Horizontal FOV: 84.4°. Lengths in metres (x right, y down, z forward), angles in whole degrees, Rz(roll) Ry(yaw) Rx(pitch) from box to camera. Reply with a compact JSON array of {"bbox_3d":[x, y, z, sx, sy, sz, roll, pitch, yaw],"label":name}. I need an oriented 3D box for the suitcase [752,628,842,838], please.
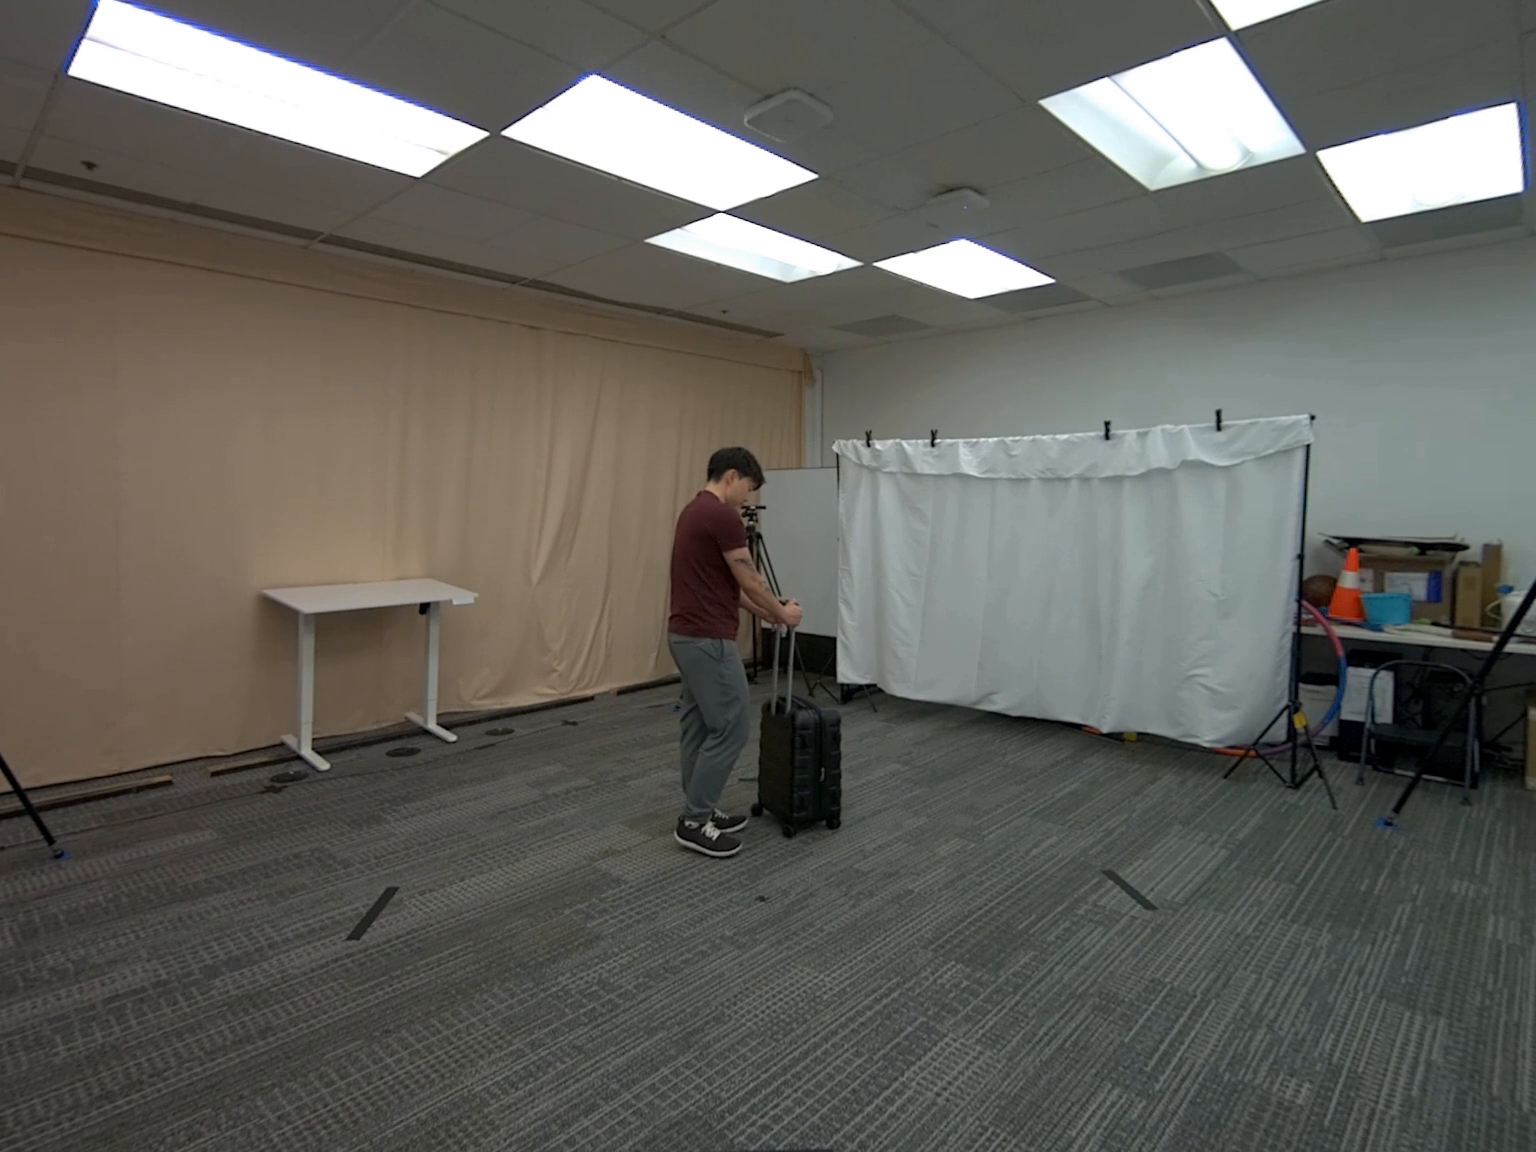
[{"bbox_3d":[0.157,0.607,3.693,0.251,0.977,0.393,3,3,-23],"label":"suitcase"}]
